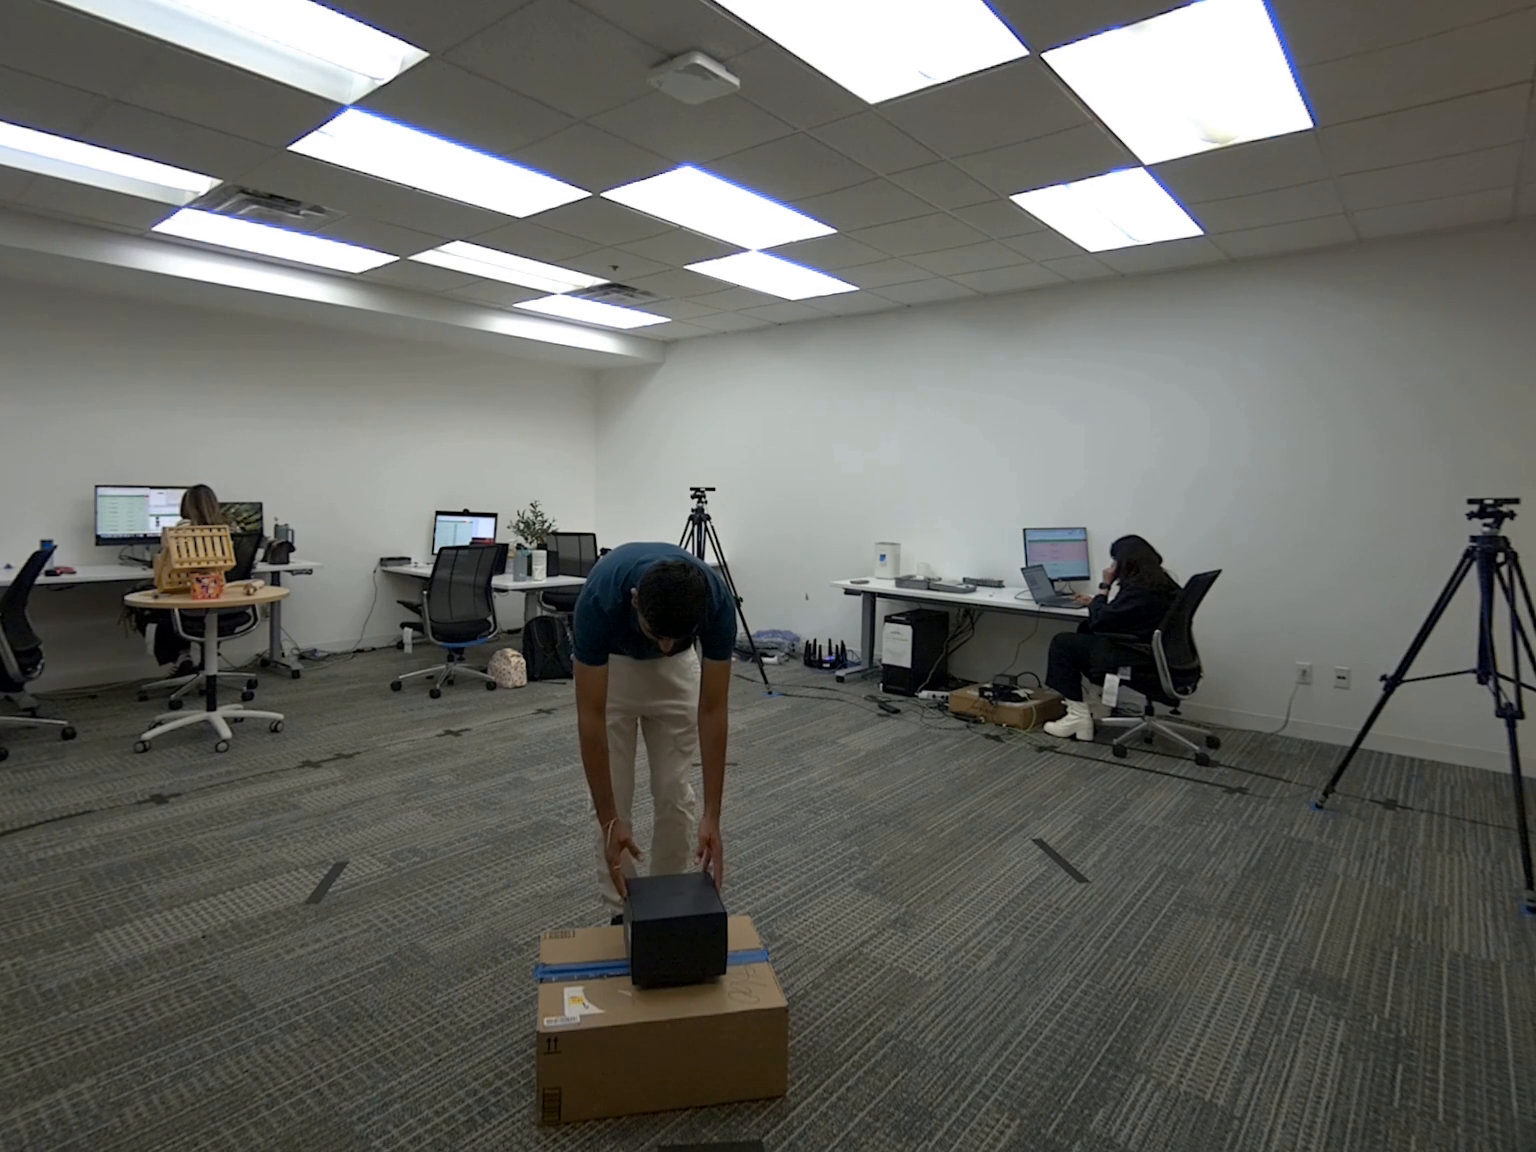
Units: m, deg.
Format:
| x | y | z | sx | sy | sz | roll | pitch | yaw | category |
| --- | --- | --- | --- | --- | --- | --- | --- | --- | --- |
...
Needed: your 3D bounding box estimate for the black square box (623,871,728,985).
| x | y | z | sx | sy | sz | roll | pitch | yaw | category |
| --- | --- | --- | --- | --- | --- | --- | --- | --- | --- |
| -0.238 | 0.846 | 2.090 | 0.225 | 0.155 | 0.221 | -1 | 5 | -14 | black square box |
